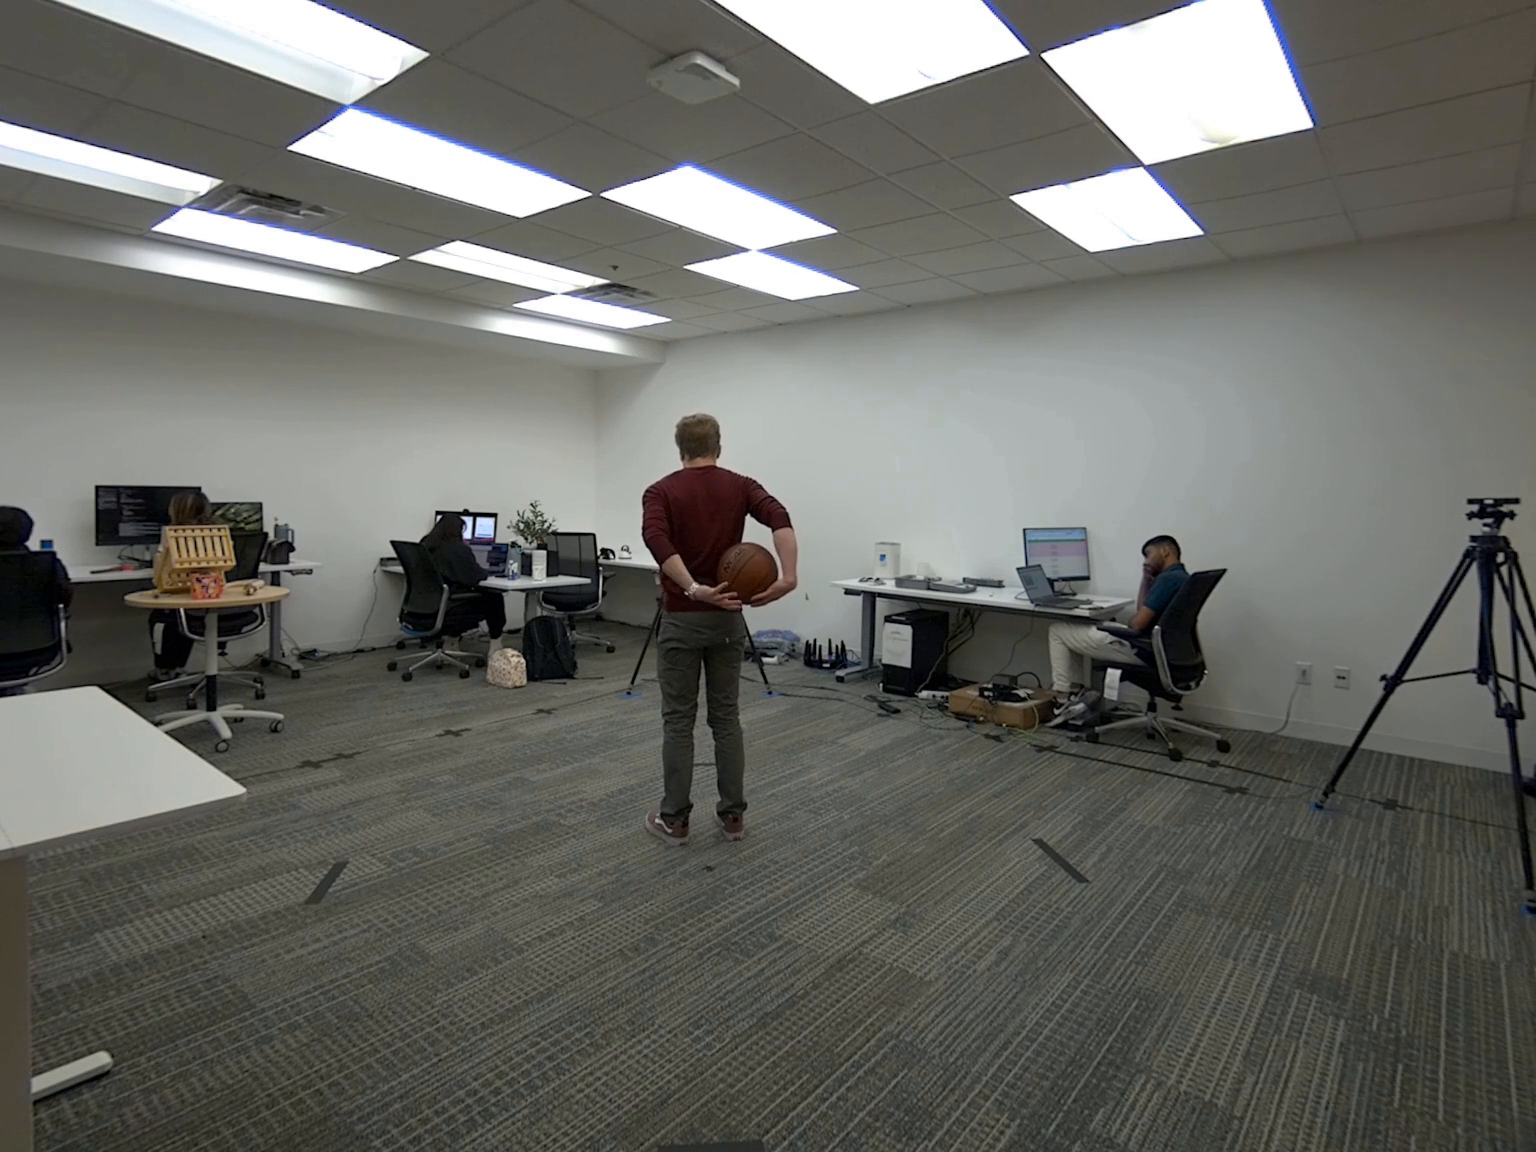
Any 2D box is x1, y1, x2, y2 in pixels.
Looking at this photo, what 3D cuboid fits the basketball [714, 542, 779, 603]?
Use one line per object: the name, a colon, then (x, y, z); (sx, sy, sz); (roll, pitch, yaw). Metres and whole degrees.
basketball: (-0.095, -0.014, 3.256); (0.235, 0.235, 0.237); (1, 4, -2)
